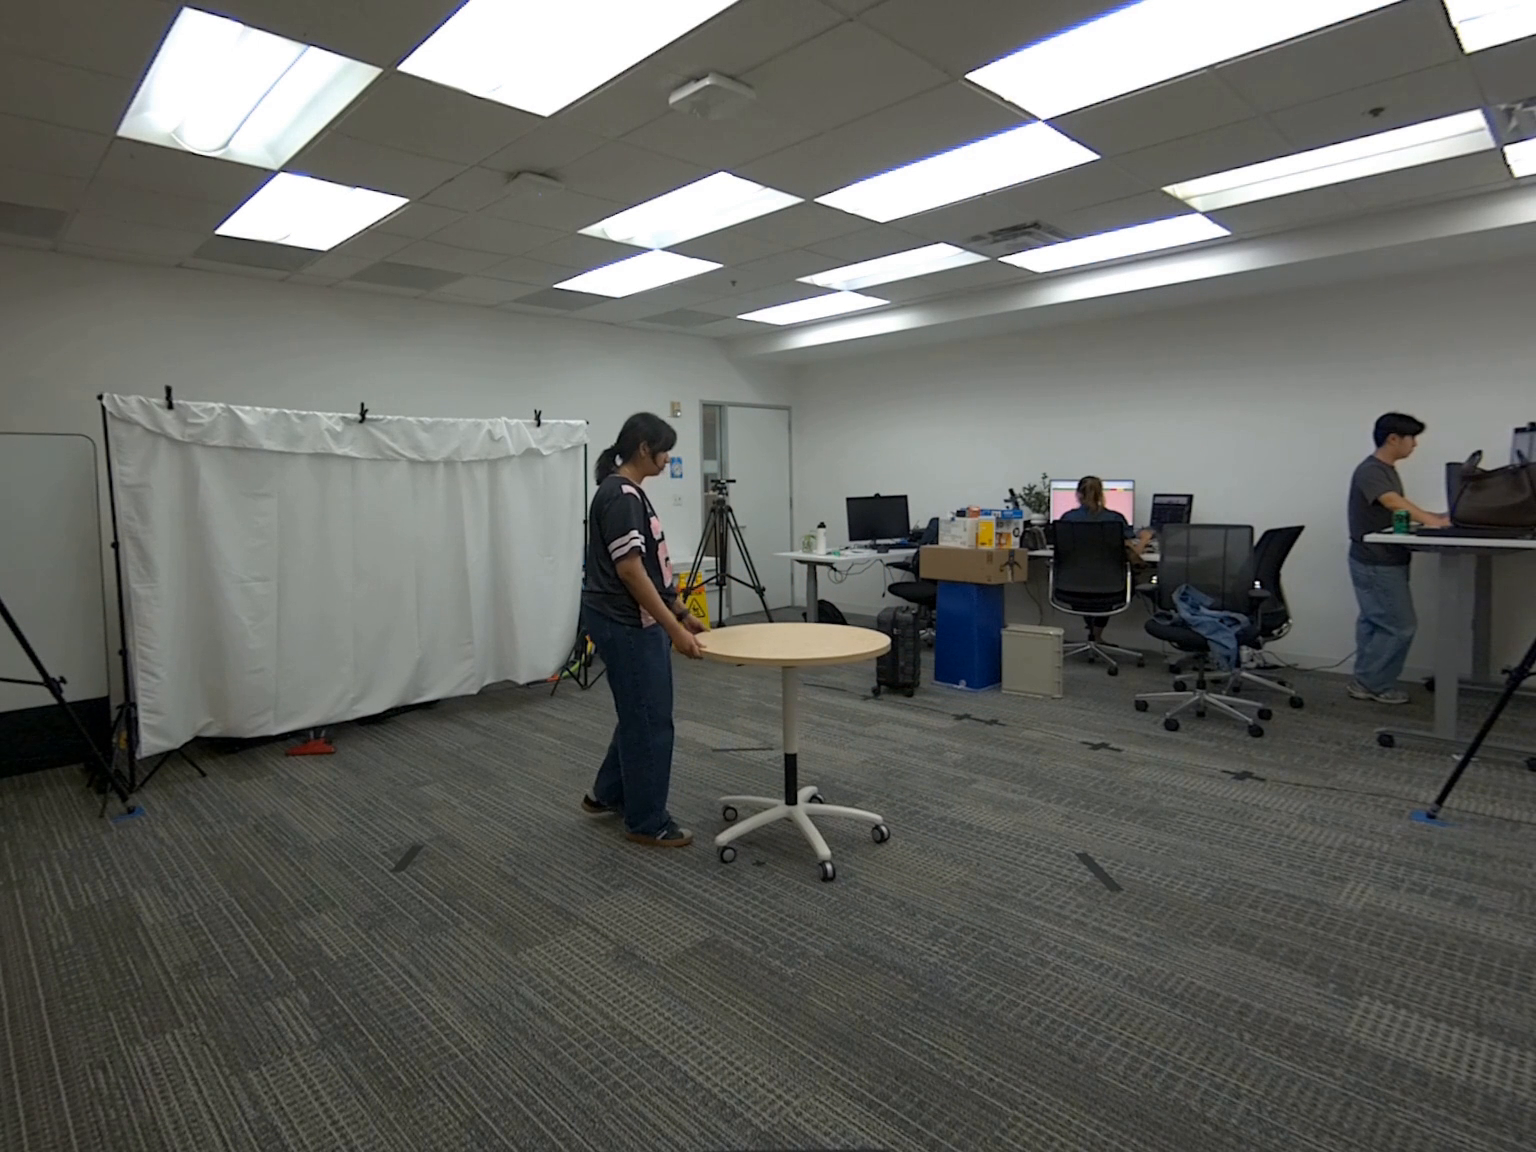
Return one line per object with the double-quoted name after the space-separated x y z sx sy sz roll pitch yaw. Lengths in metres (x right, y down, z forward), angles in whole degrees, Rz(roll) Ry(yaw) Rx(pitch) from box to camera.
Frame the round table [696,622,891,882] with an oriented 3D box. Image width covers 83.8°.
0.086 0.631 3.284 0.763 0.792 0.767 -1 4 -2 "round table"
